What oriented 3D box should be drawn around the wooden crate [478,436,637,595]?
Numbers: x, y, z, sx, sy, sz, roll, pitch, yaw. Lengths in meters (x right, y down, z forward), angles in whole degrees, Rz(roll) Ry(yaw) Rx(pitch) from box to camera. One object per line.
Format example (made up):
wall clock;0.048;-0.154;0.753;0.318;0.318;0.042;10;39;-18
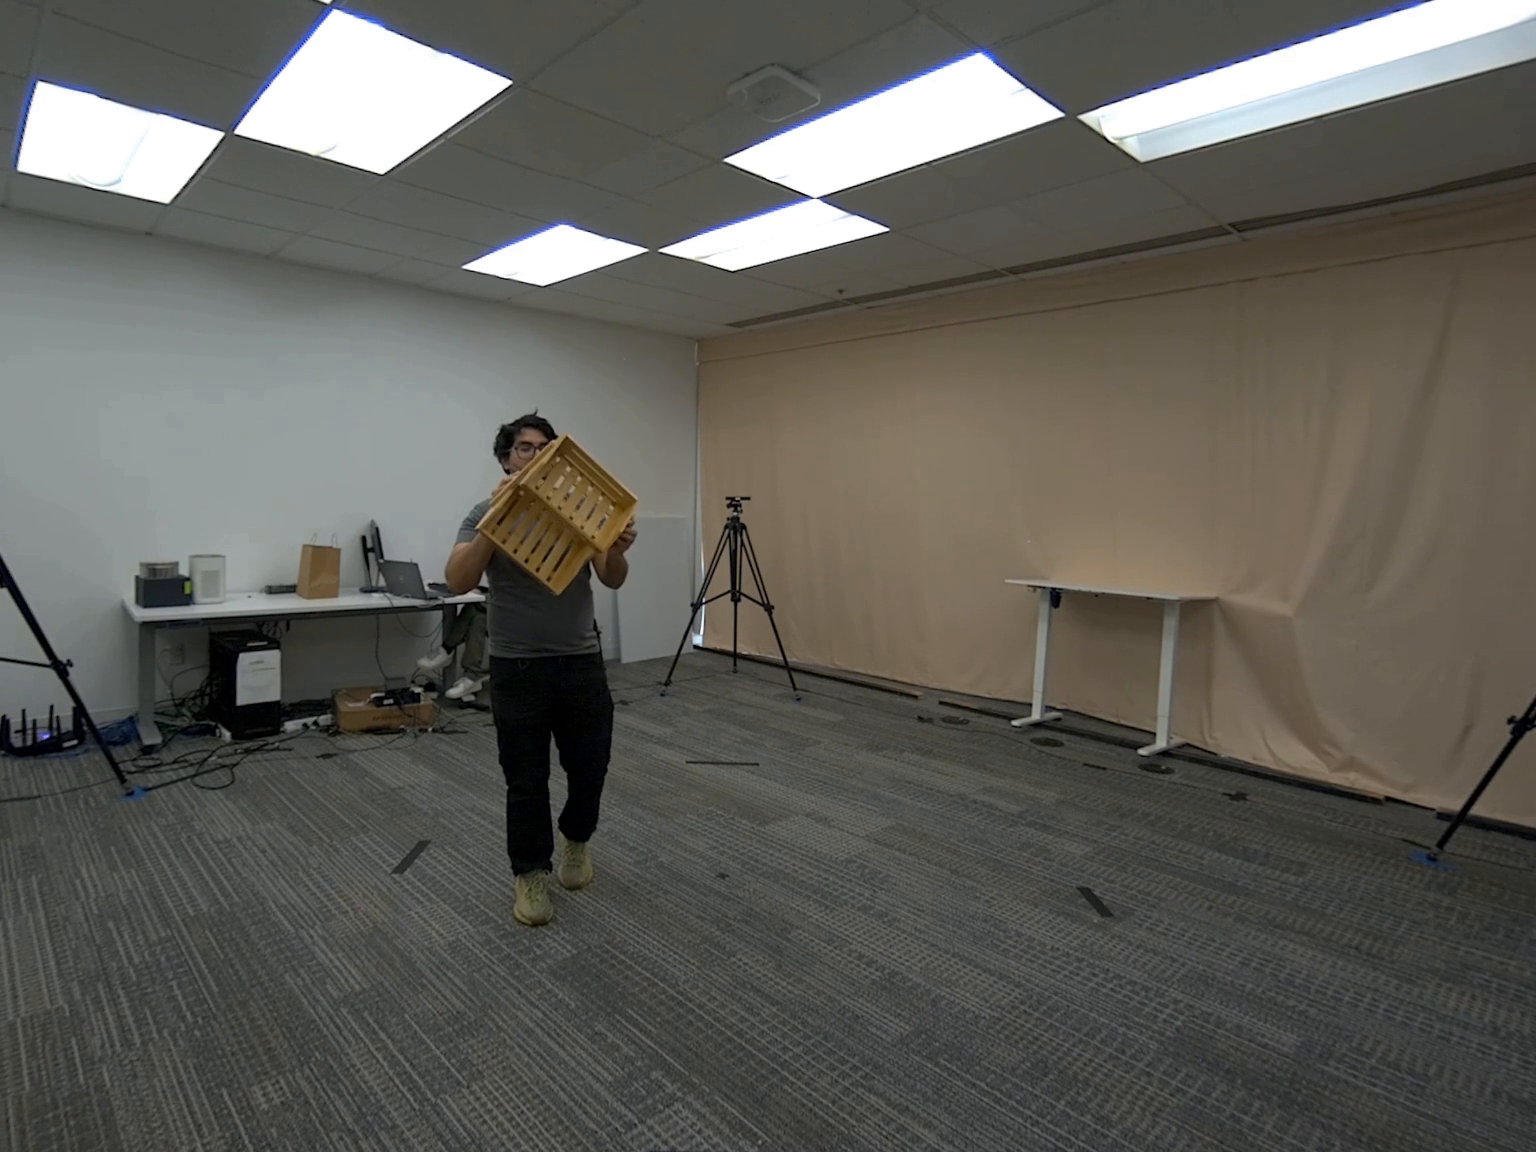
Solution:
wooden crate;-0.612;-0.171;2.450;0.317;0.305;0.276;43;-47;-21
